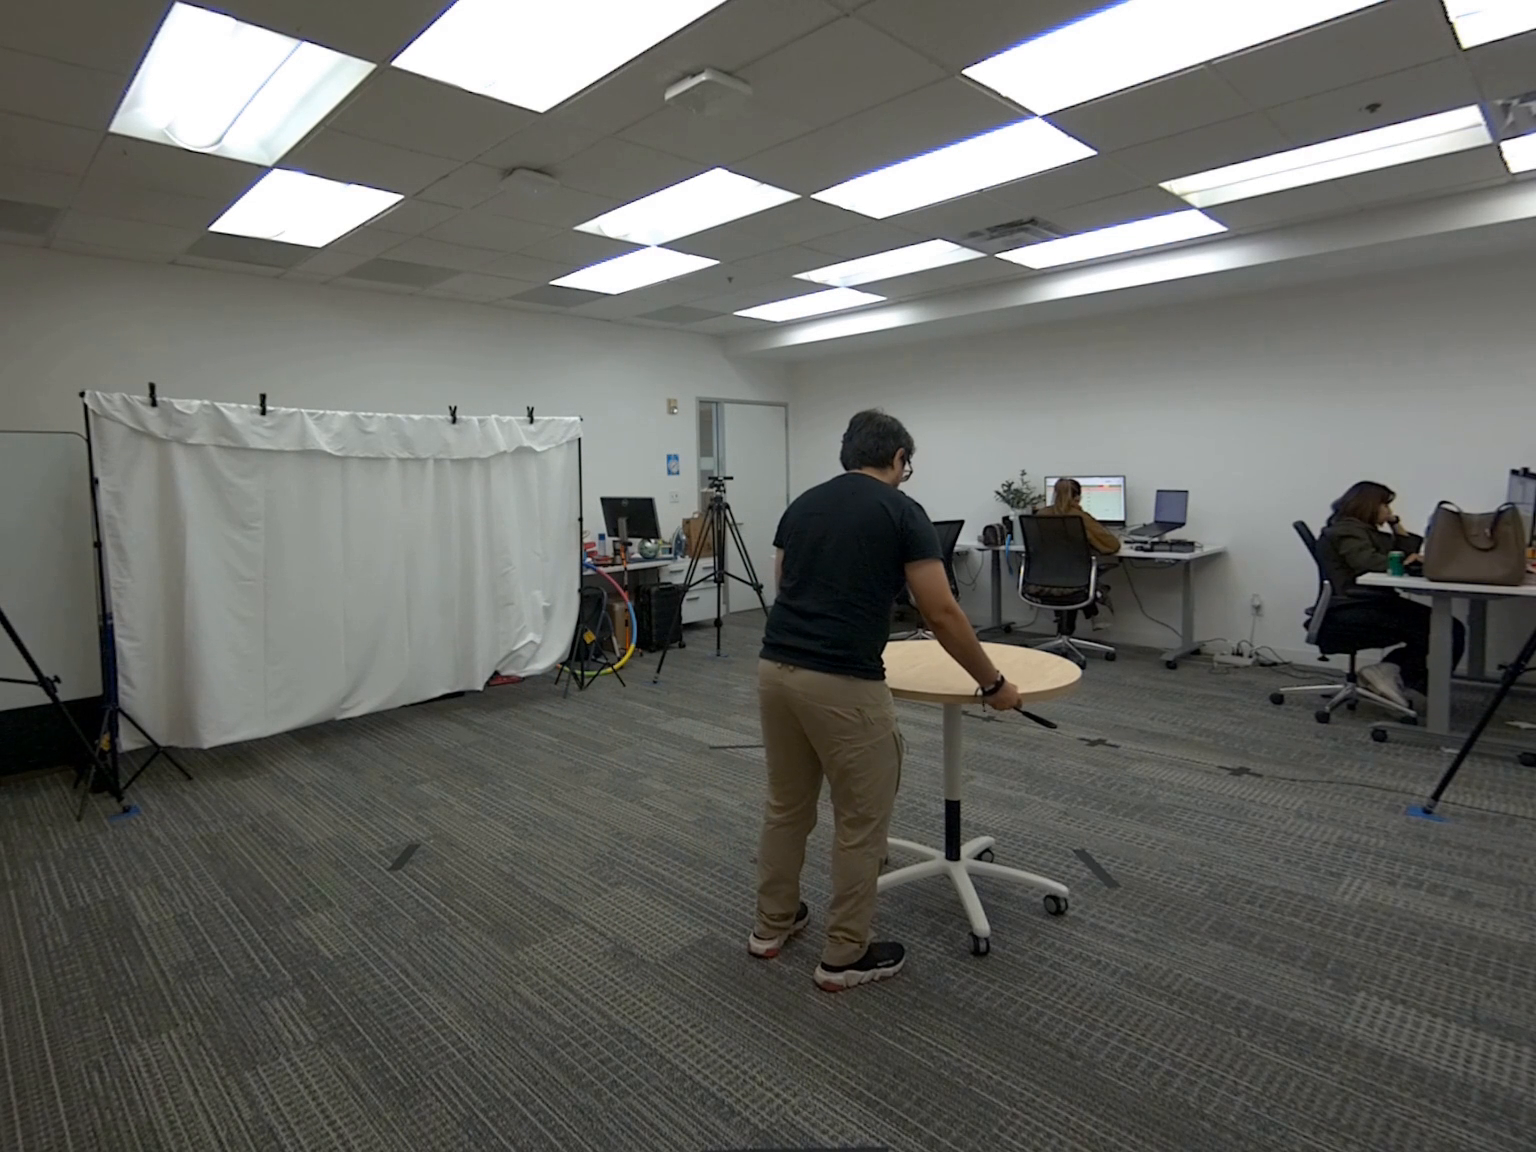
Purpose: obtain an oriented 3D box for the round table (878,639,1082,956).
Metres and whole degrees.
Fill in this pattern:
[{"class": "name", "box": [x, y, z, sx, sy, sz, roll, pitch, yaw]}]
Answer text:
[{"class": "round table", "box": [0.614, 0.671, 2.765, 0.784, 0.783, 0.789, -1, 5, -2]}]
